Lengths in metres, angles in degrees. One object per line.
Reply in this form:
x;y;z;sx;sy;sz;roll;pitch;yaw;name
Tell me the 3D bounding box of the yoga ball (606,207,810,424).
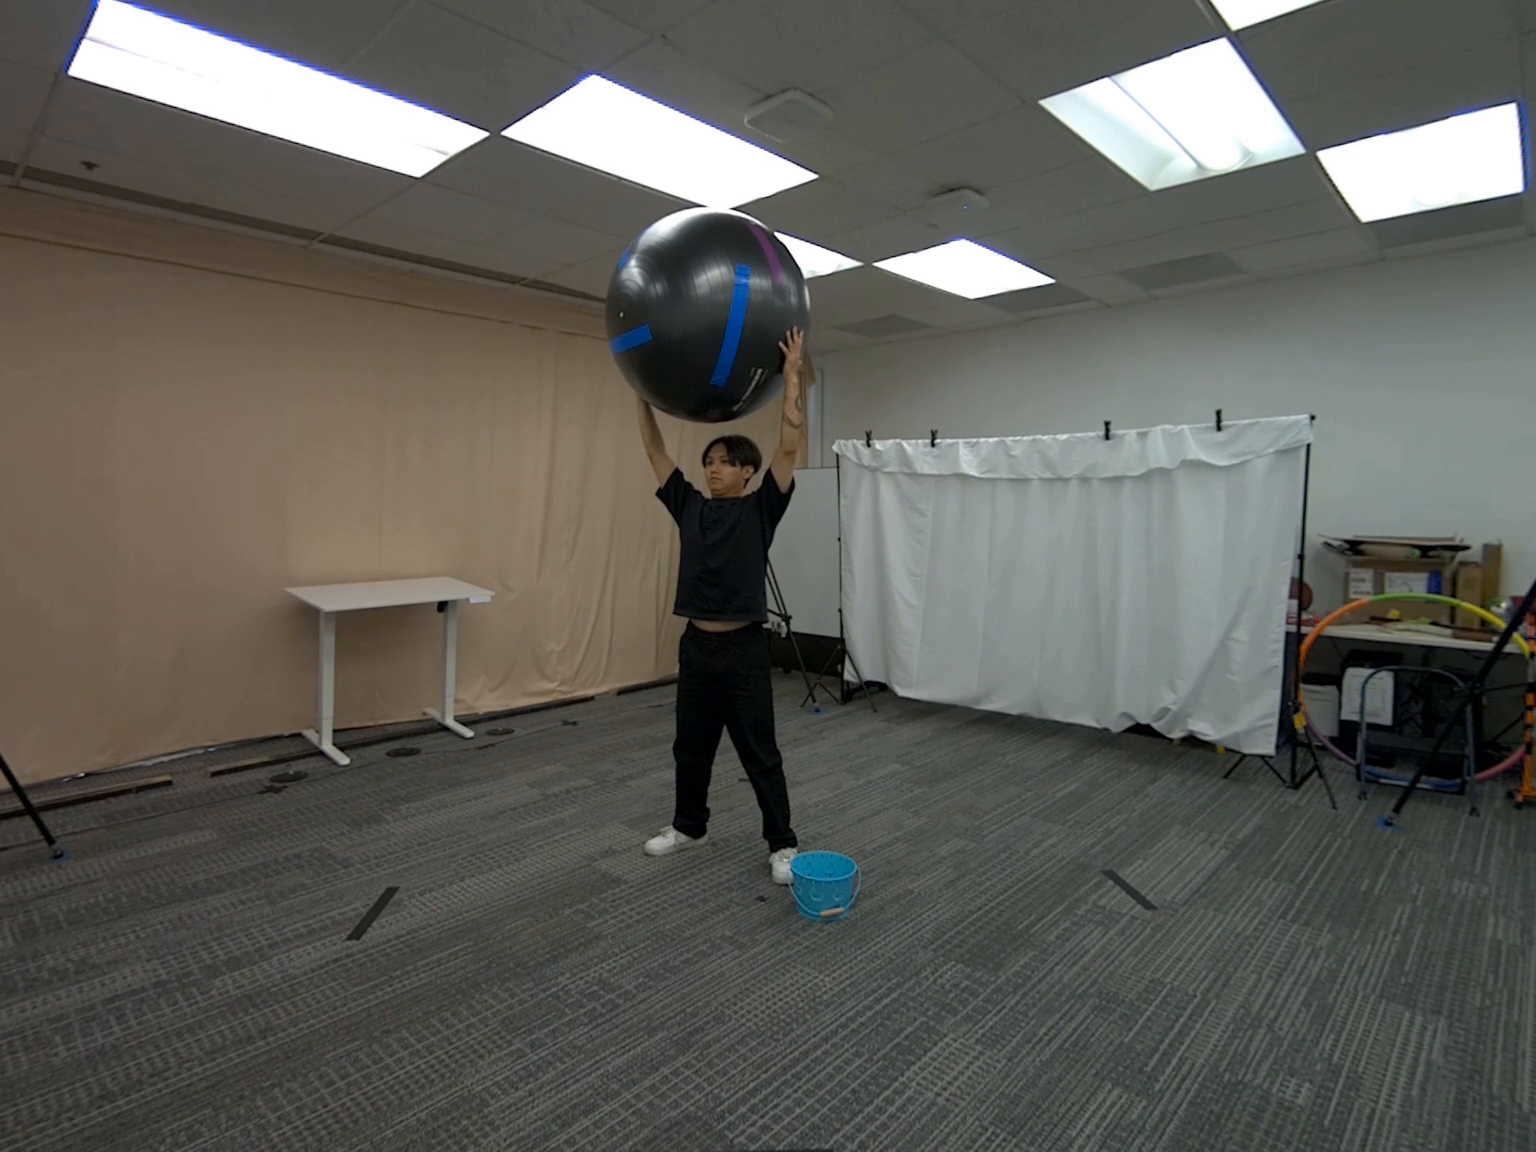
-0.221;-0.941;3.116;0.757;0.756;0.760;0;4;-2;yoga ball
